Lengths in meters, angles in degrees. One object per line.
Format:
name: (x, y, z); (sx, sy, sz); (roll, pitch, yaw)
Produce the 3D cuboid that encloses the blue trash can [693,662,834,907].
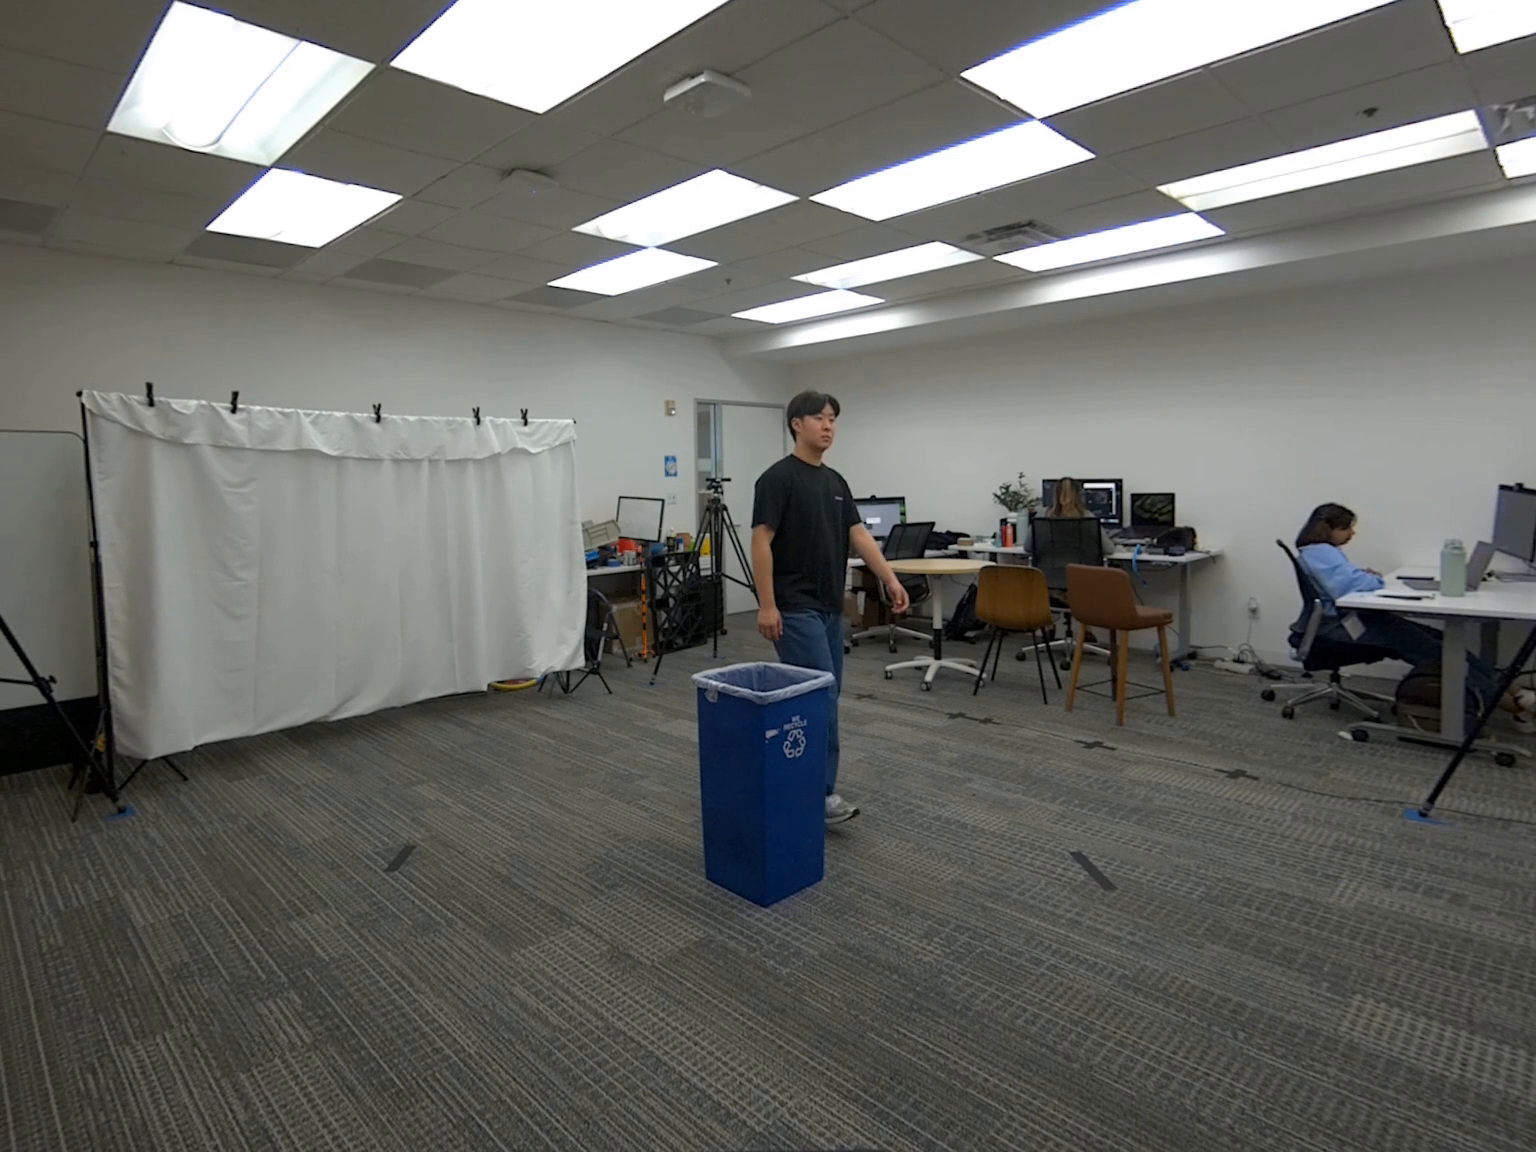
blue trash can: (-0.012, 0.700, 2.968); (0.364, 0.711, 0.390); (-5, 6, -44)
